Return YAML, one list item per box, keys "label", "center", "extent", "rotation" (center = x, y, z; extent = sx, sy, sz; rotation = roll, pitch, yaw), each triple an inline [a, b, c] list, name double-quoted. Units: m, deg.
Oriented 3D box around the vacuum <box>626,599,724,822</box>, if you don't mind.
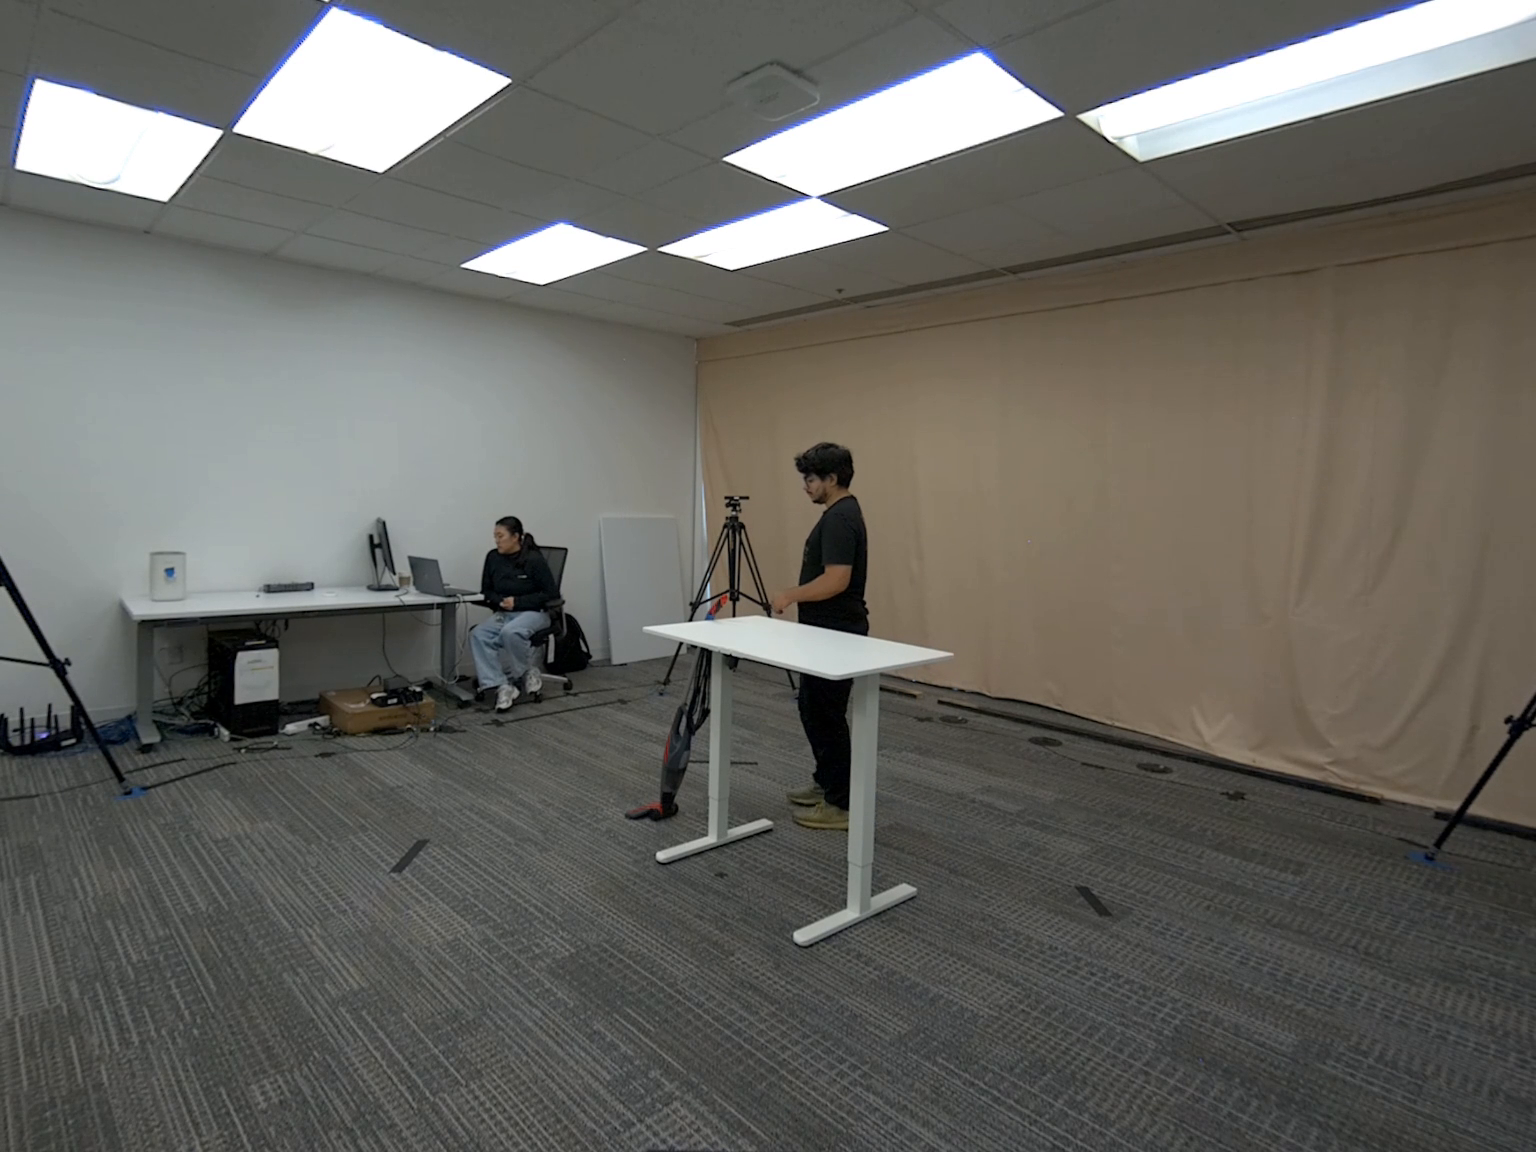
- label: "vacuum"
  center: [-0.339, 0.564, 3.553]
  extent: [0.148, 1.042, 0.247]
  rotation: [27, 17, 29]
